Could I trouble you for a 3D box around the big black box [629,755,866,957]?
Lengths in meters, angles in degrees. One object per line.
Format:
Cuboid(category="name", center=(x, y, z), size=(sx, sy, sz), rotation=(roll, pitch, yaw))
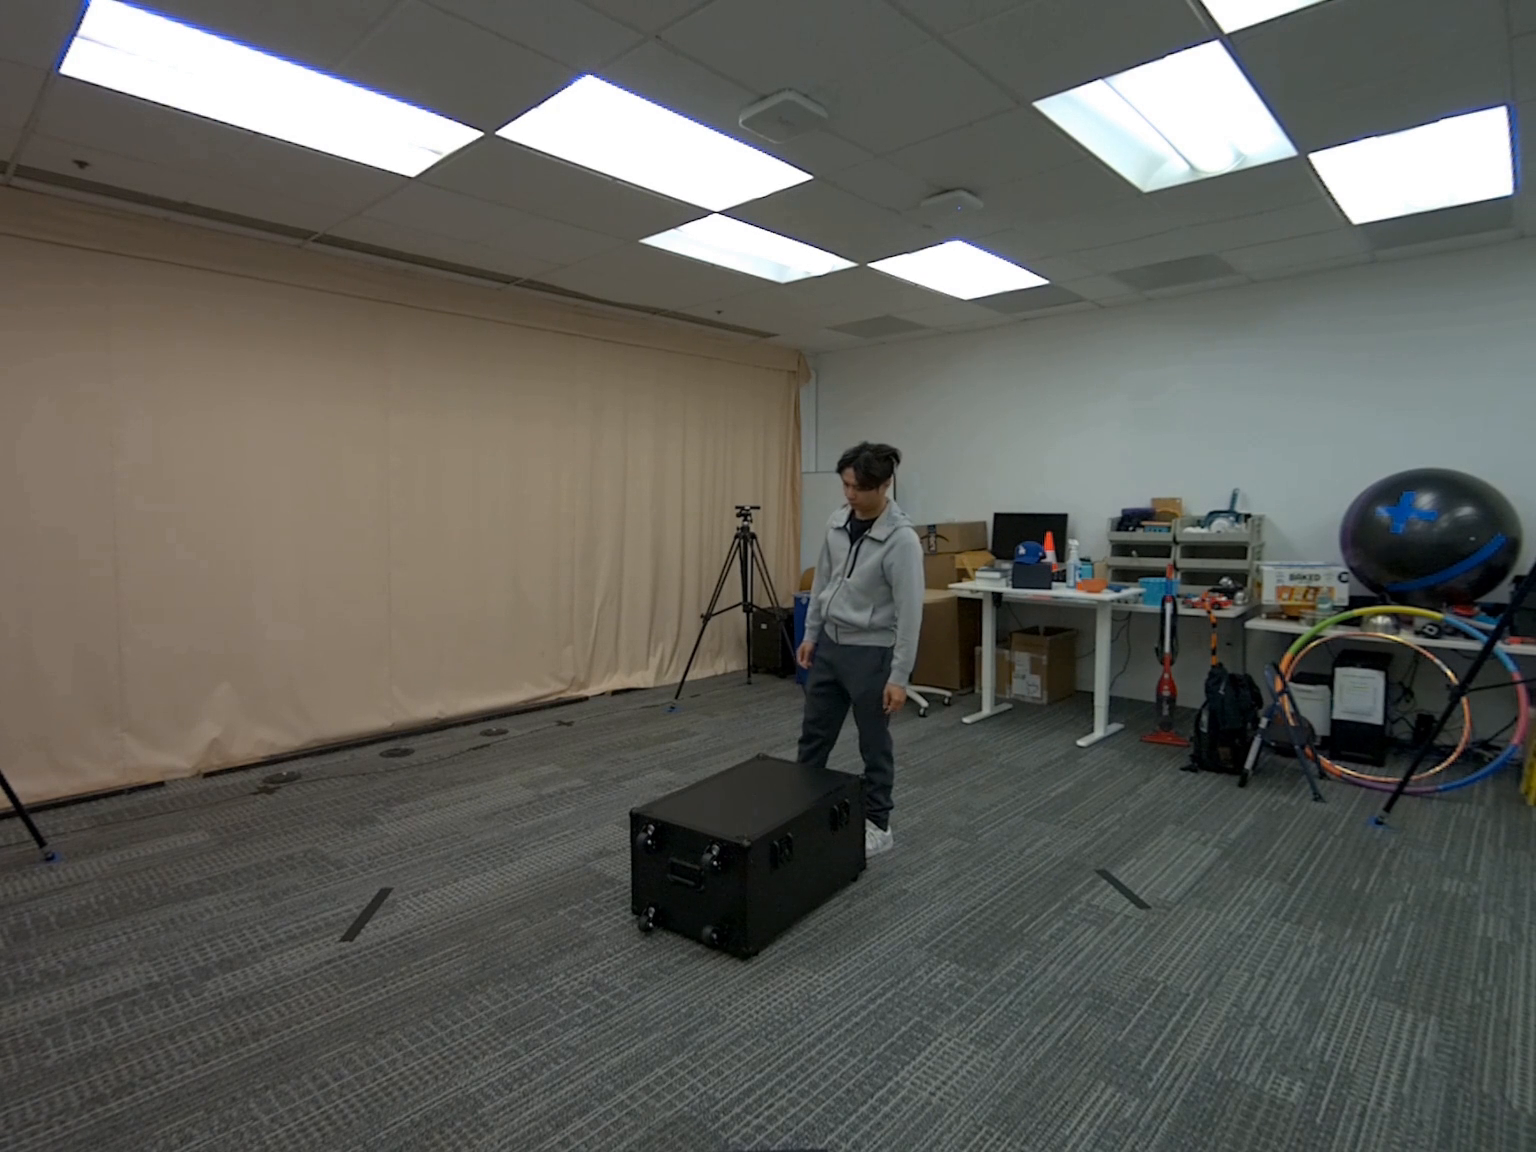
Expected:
Cuboid(category="big black box", center=(-0.069, 0.958, 2.966), size=(0.538, 0.395, 0.837), rotation=(3, 5, 35))
